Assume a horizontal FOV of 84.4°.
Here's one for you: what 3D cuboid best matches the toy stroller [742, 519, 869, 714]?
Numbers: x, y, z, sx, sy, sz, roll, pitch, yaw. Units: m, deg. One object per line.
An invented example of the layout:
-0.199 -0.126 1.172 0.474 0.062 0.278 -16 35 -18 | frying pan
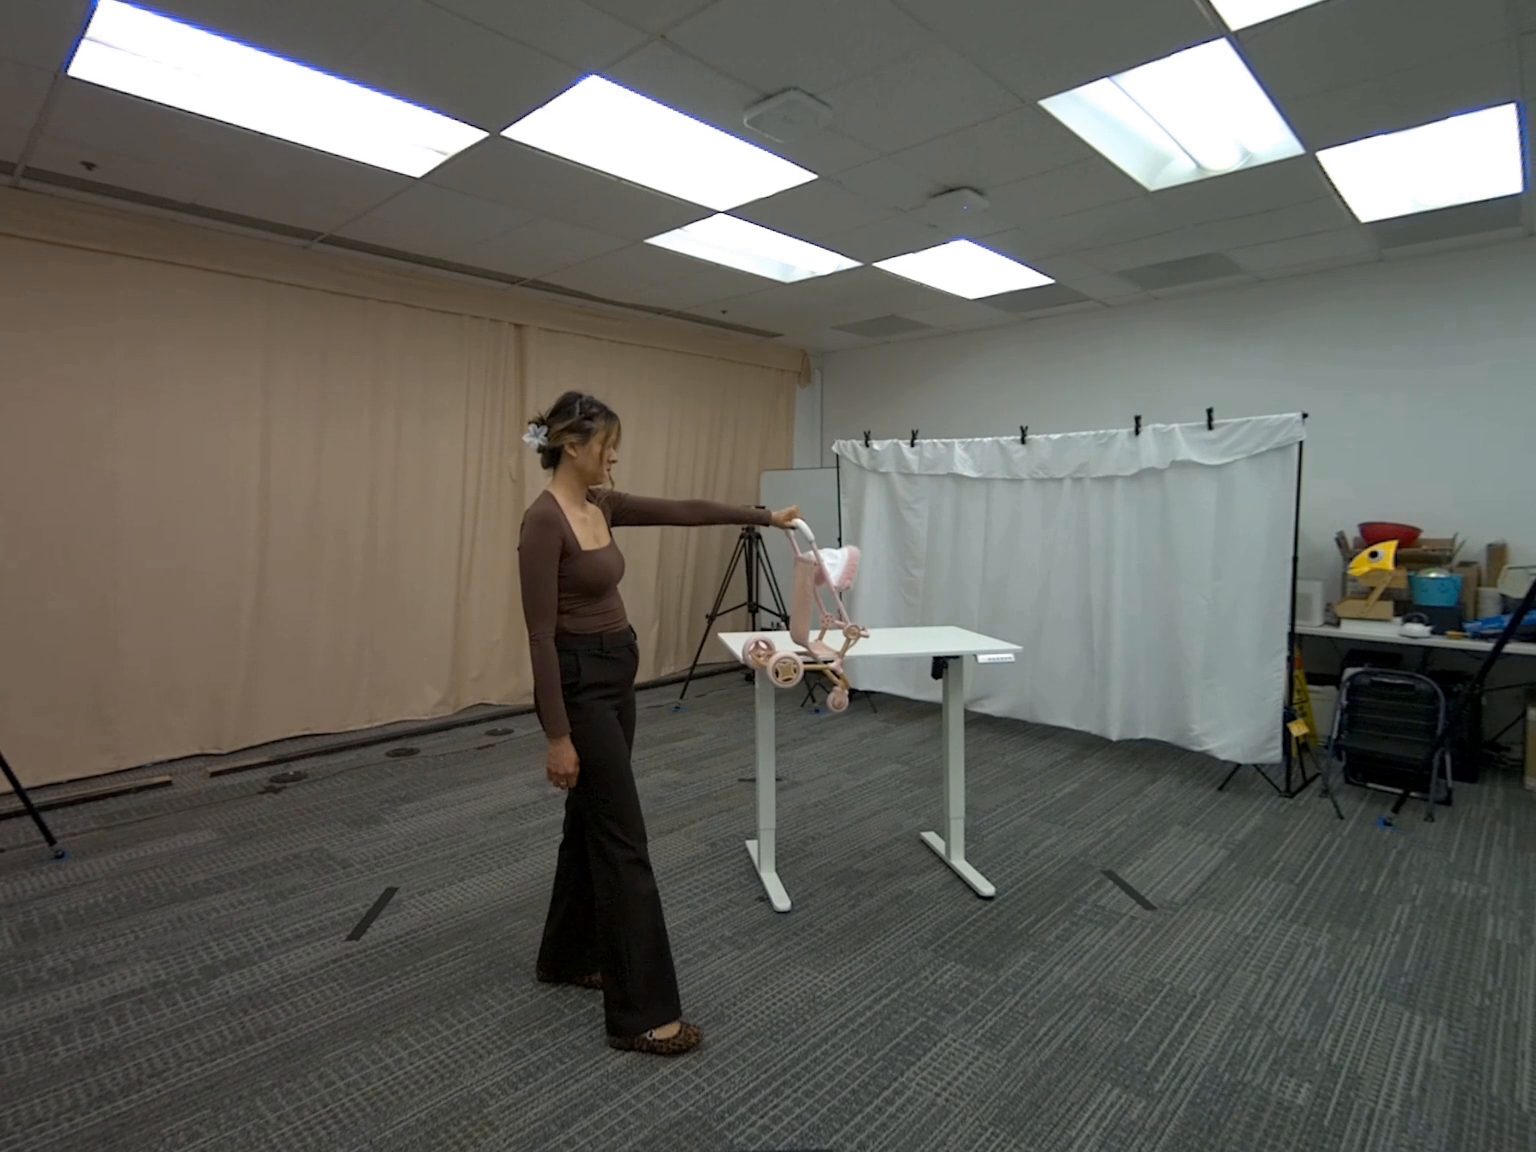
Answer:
0.169 0.127 2.533 0.336 0.535 0.285 14 -1 -13 | toy stroller
